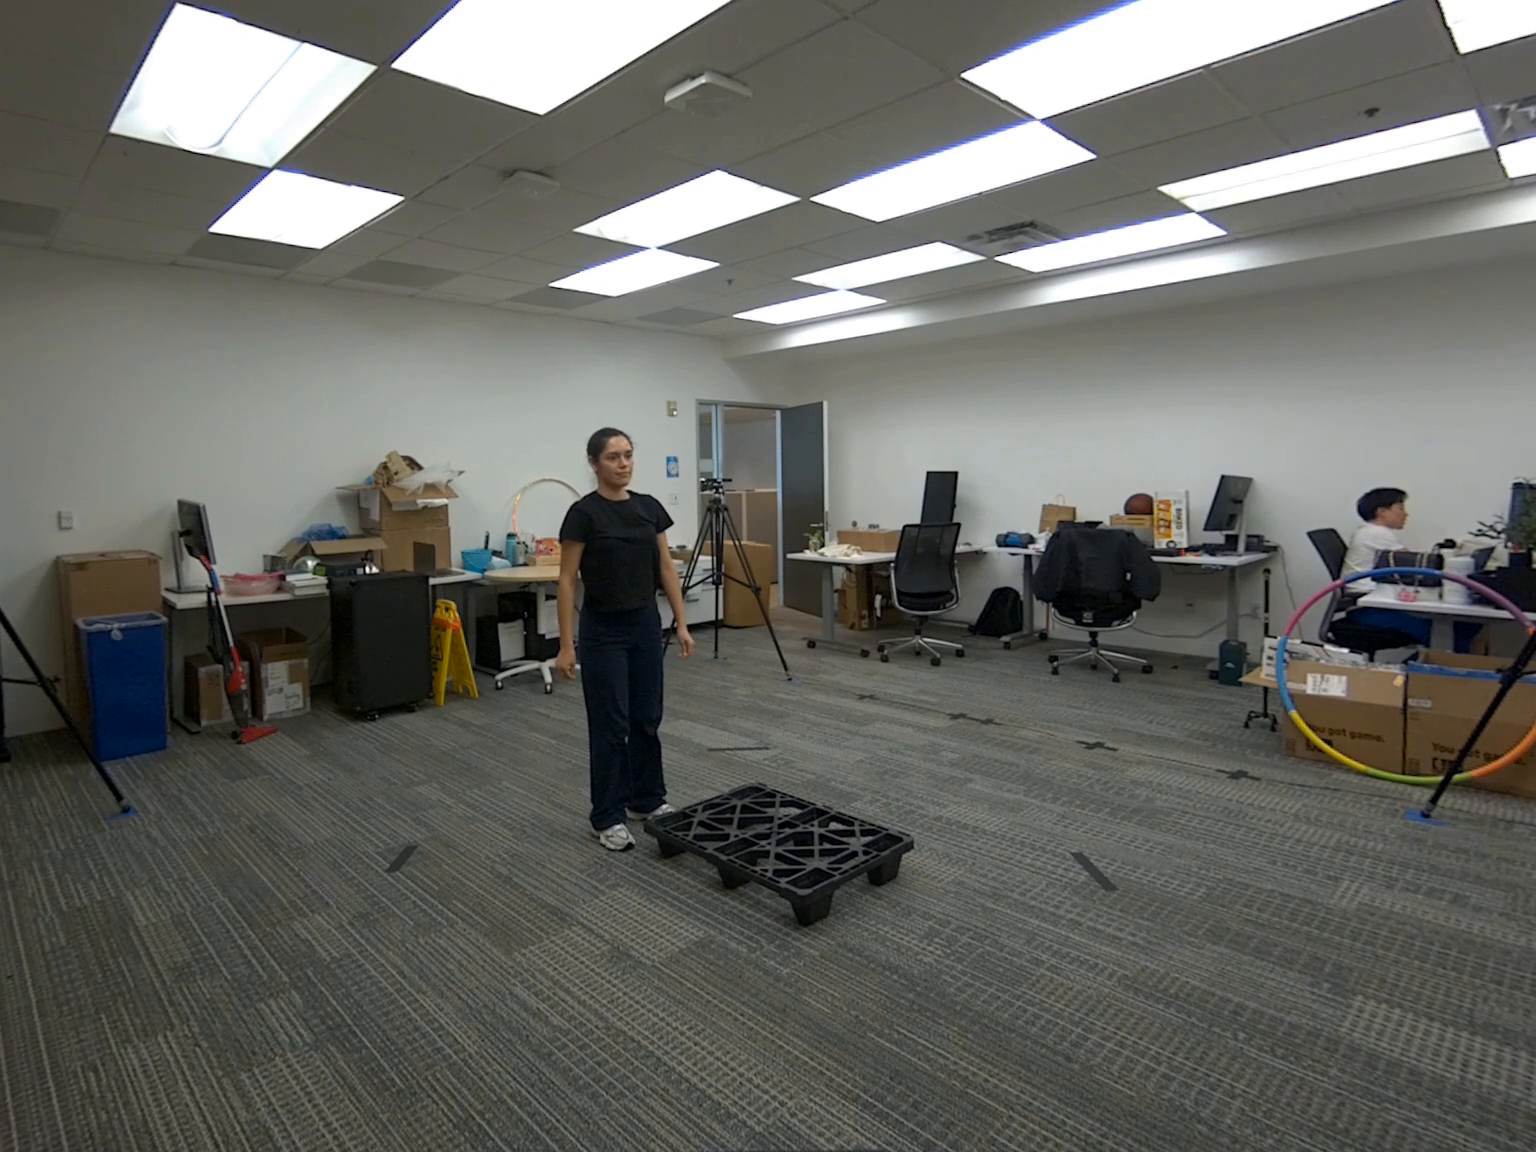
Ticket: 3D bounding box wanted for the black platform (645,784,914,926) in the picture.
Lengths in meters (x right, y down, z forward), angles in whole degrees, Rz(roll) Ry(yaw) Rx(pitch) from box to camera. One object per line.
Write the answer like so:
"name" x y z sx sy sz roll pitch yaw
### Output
"black platform" 0.027 0.983 3.083 0.589 0.143 0.830 -7 9 -44
